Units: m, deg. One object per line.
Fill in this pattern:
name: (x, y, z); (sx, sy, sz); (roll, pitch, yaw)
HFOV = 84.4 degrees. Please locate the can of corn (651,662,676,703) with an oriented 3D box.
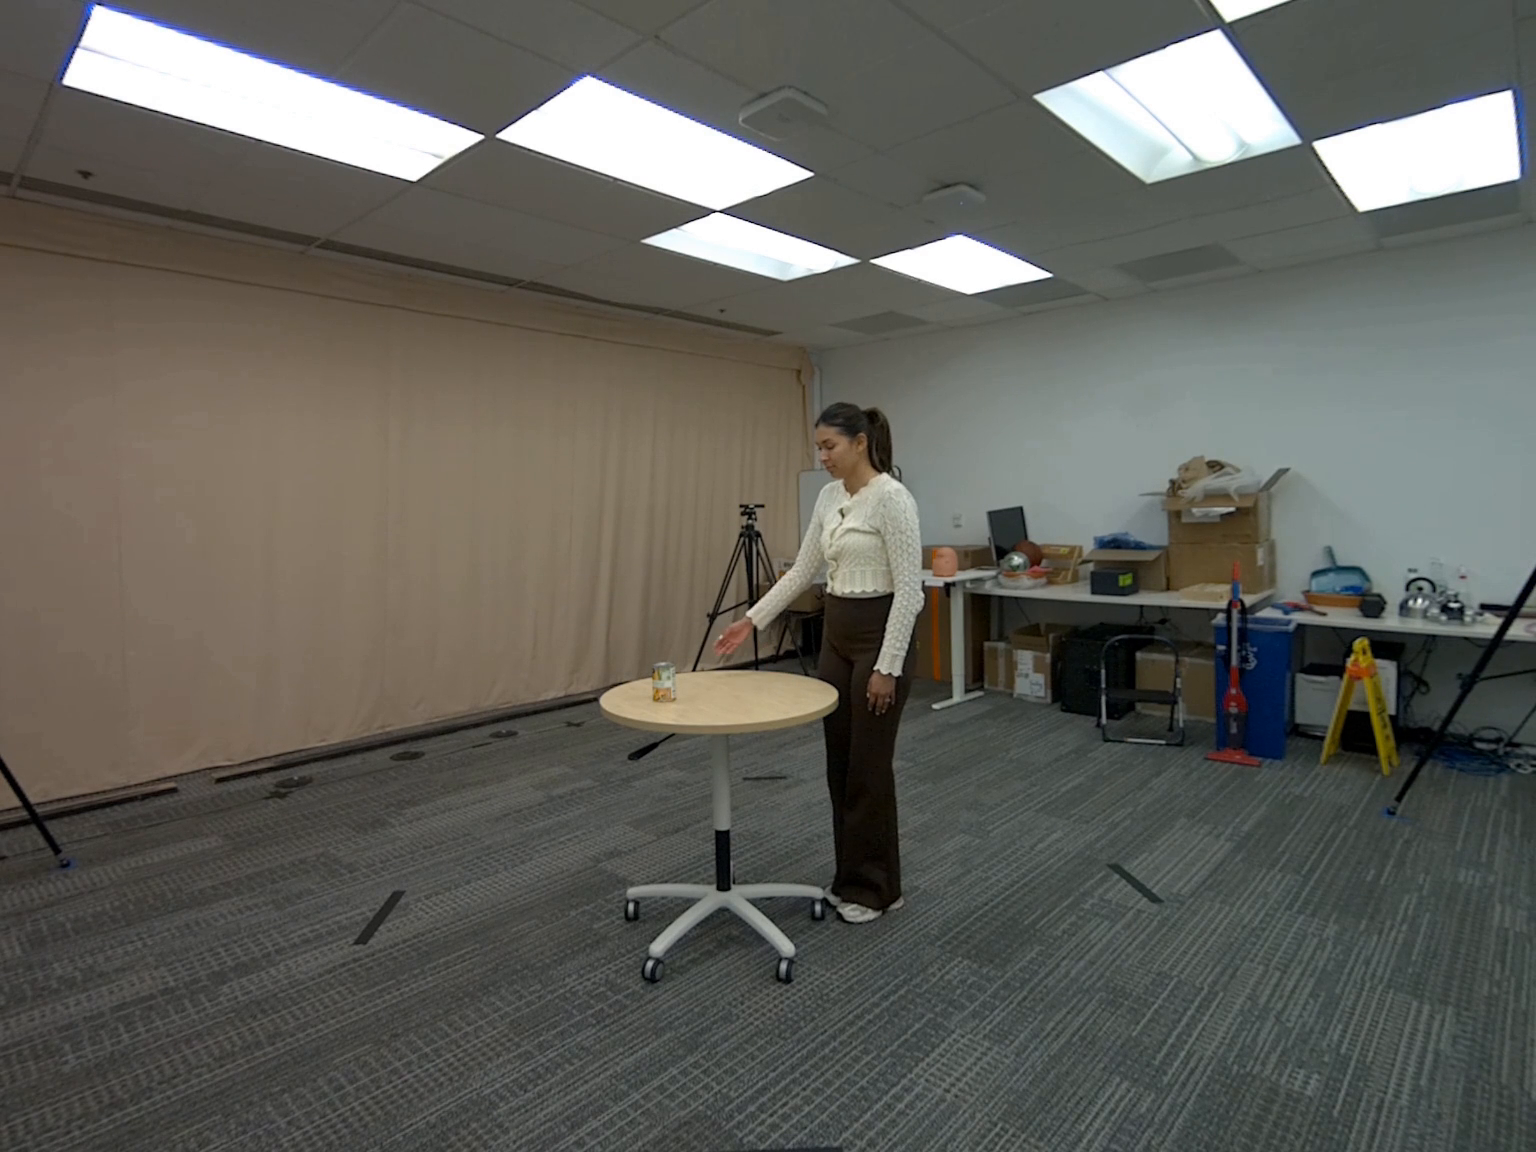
can of corn: (-0.322, 0.340, 2.655); (0.074, 0.111, 0.074); (-1, 5, -2)
